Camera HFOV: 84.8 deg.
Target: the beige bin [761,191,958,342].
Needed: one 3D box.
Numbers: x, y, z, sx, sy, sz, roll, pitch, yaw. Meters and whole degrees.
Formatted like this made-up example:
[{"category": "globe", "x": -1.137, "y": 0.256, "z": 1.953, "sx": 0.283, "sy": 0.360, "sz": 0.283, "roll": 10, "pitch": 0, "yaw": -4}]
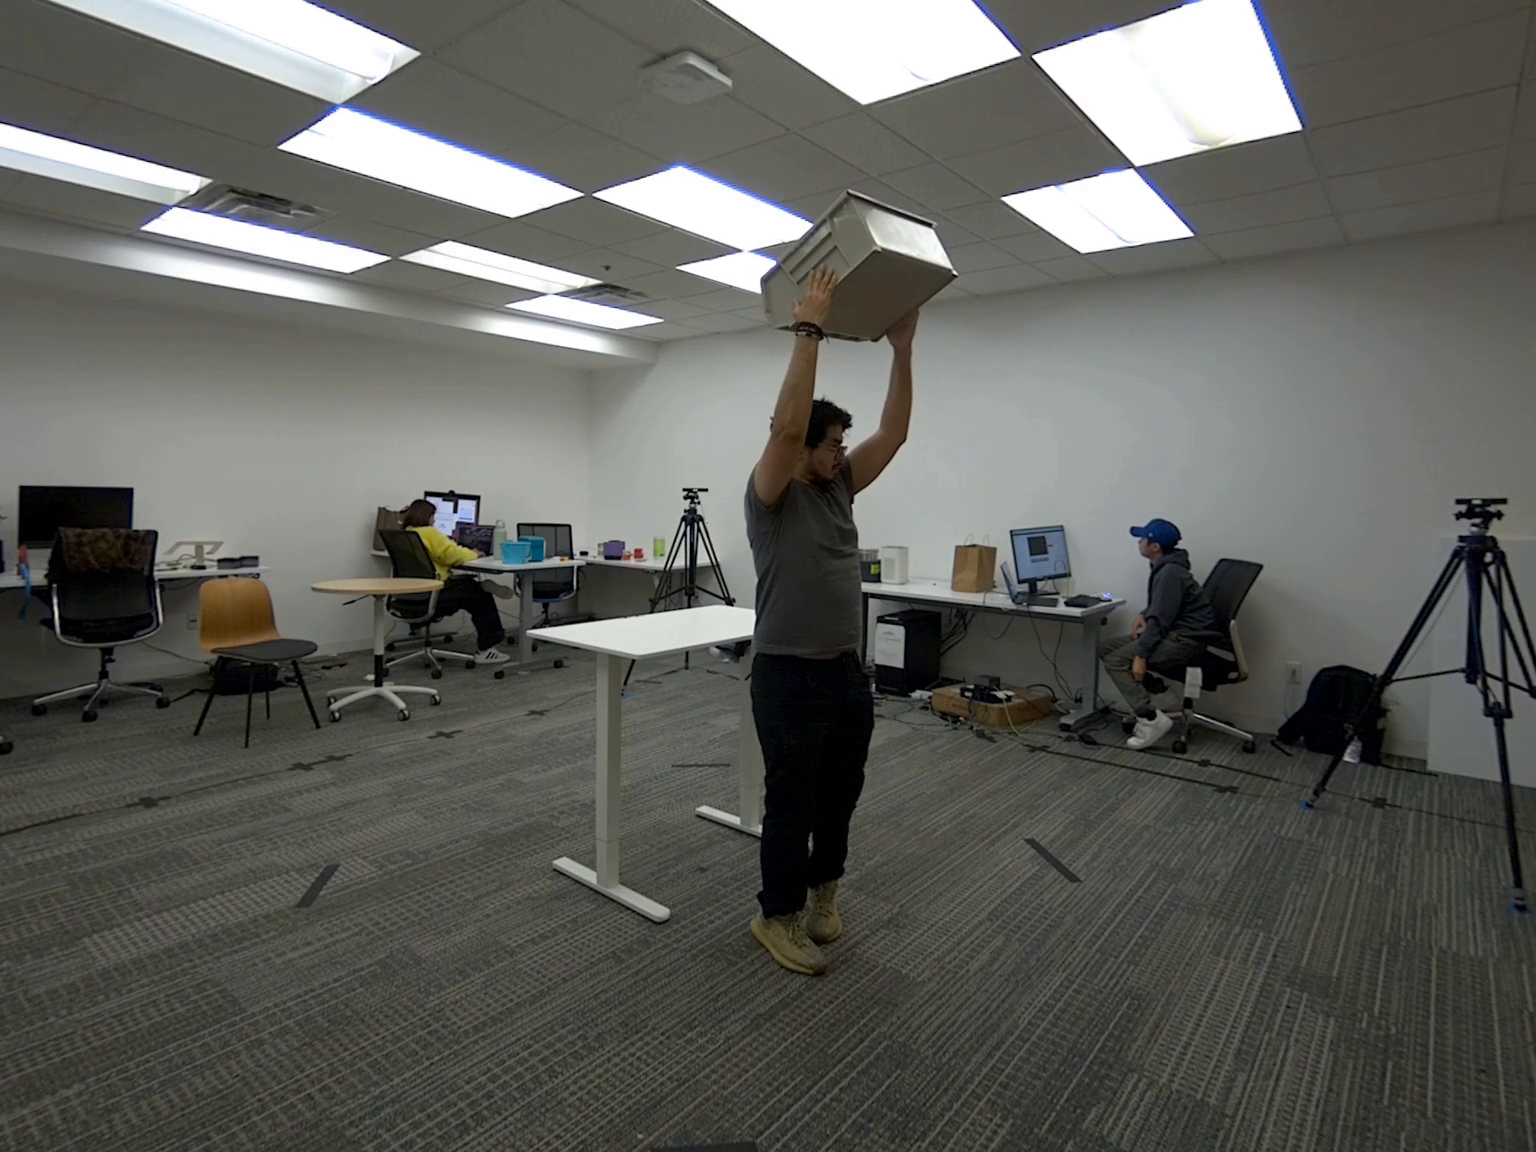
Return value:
[{"category": "beige bin", "x": 0.244, "y": -0.820, "z": 2.352, "sx": 0.410, "sy": 0.192, "sz": 0.381, "roll": -7, "pitch": -19, "yaw": -47}]
